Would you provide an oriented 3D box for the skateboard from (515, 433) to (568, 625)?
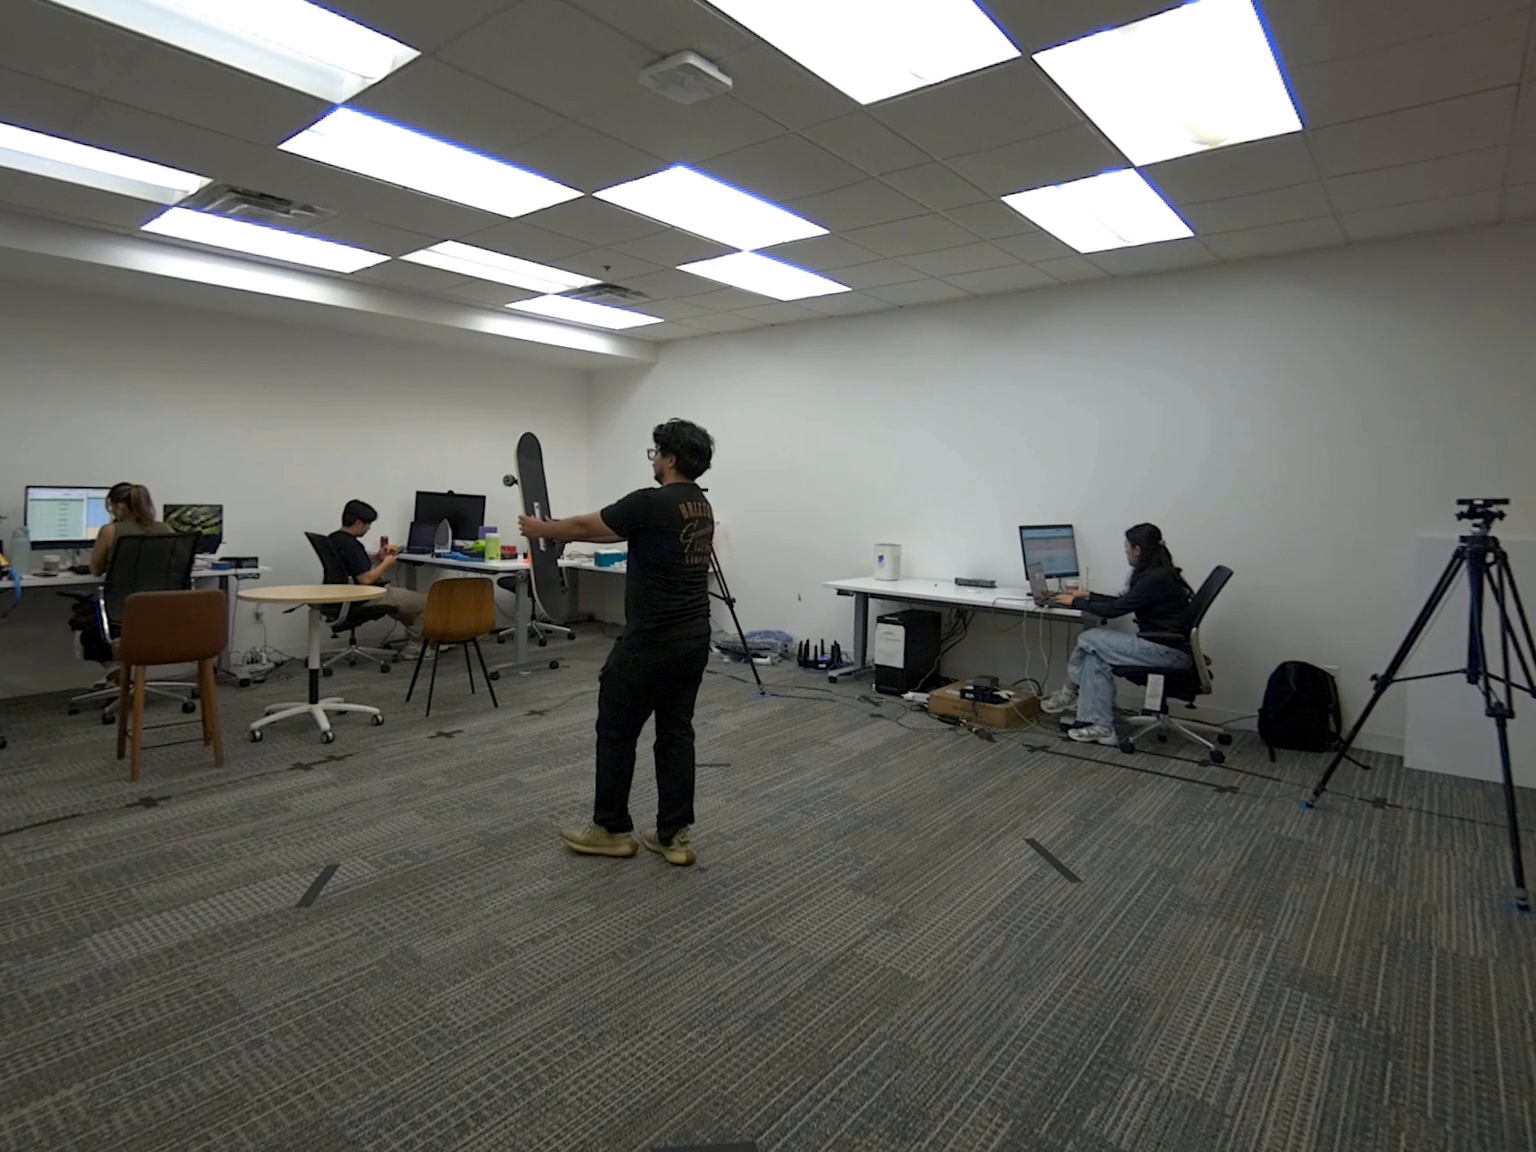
[{"bbox_3d":[-0.977,-0.197,3.476,0.112,0.793,0.188,-13,-8,21],"label":"skateboard"}]
